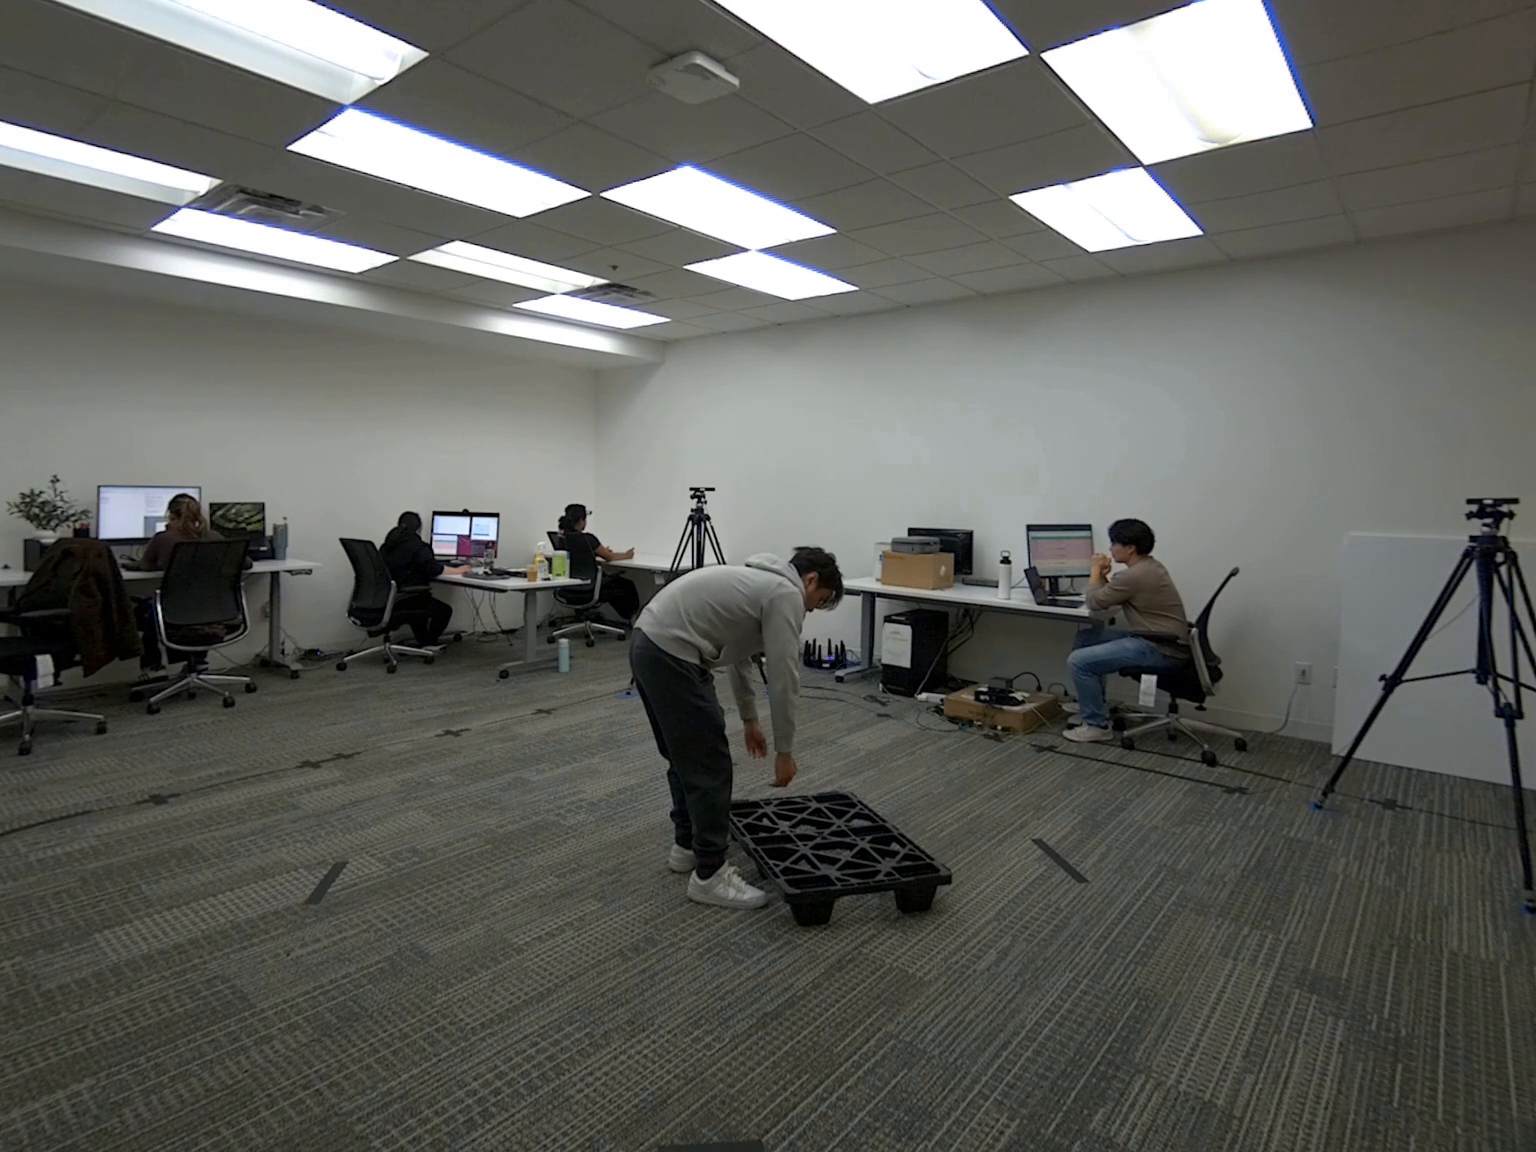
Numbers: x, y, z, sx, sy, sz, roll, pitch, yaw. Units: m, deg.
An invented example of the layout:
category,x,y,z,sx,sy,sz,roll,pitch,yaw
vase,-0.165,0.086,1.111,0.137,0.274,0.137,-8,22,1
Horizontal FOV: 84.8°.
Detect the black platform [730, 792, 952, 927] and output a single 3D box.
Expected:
category,x,y,z,sx,sy,sz,roll,pitch,yaw
black platform,0.194,1.006,3.116,0.594,0.143,0.824,0,6,-19
